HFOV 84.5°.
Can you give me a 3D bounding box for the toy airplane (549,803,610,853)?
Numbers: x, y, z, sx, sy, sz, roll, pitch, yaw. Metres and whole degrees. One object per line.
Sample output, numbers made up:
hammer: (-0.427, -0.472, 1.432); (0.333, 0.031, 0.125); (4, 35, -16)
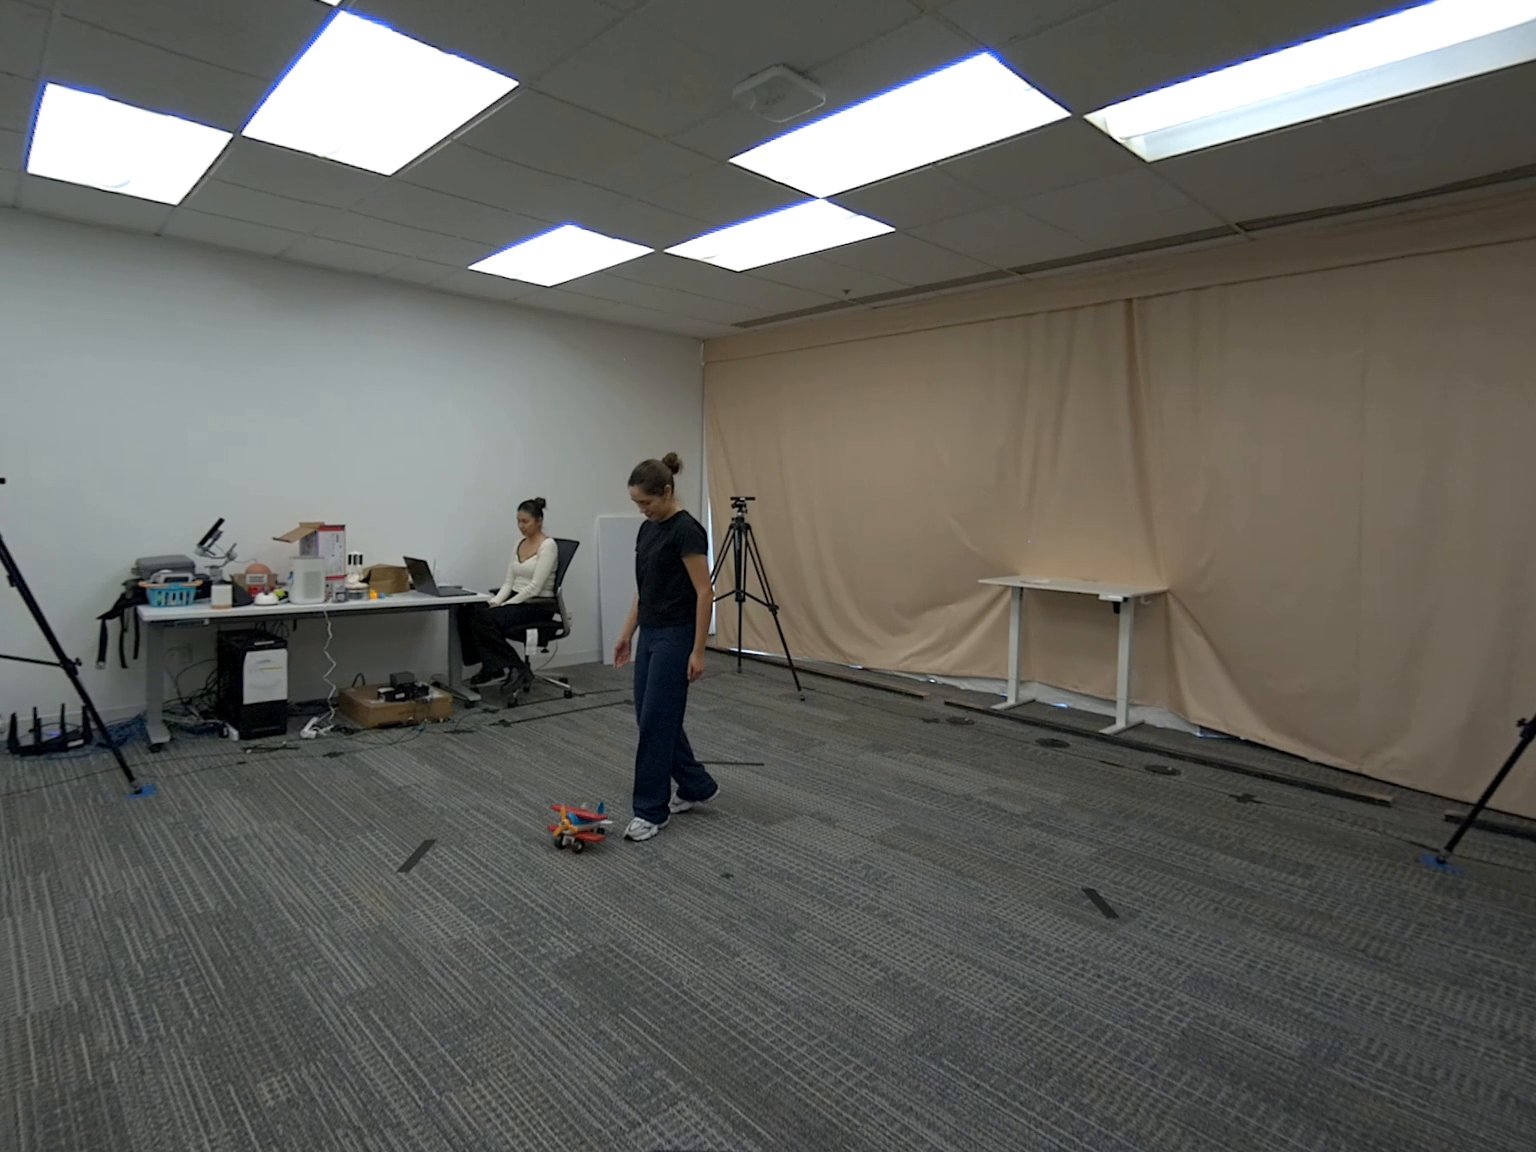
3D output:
toy airplane: (-0.761, 0.995, 3.355); (0.251, 0.156, 0.260); (1, 6, -1)
